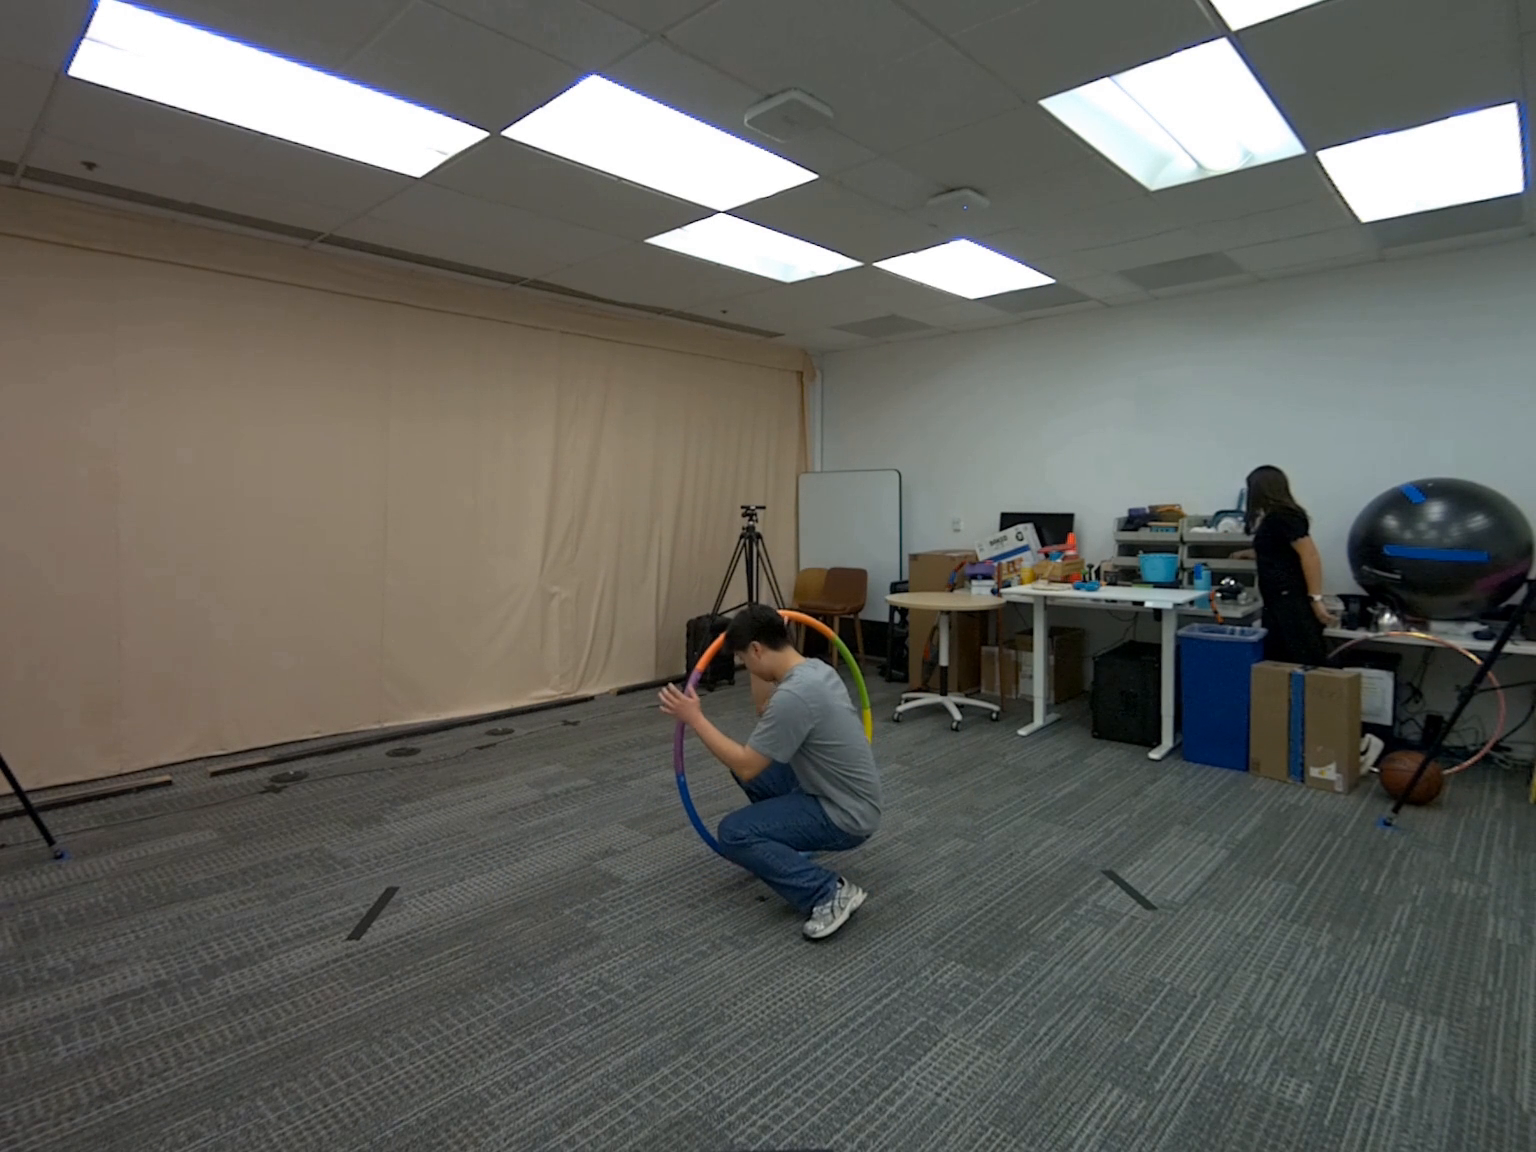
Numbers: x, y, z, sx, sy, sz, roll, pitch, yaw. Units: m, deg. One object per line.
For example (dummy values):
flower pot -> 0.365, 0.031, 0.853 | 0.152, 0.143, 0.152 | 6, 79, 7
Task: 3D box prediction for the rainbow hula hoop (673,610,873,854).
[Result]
rainbow hula hoop -> 0.047, 0.630, 3.279 | 0.950, 0.980, 0.036 | -3, -2, -36
